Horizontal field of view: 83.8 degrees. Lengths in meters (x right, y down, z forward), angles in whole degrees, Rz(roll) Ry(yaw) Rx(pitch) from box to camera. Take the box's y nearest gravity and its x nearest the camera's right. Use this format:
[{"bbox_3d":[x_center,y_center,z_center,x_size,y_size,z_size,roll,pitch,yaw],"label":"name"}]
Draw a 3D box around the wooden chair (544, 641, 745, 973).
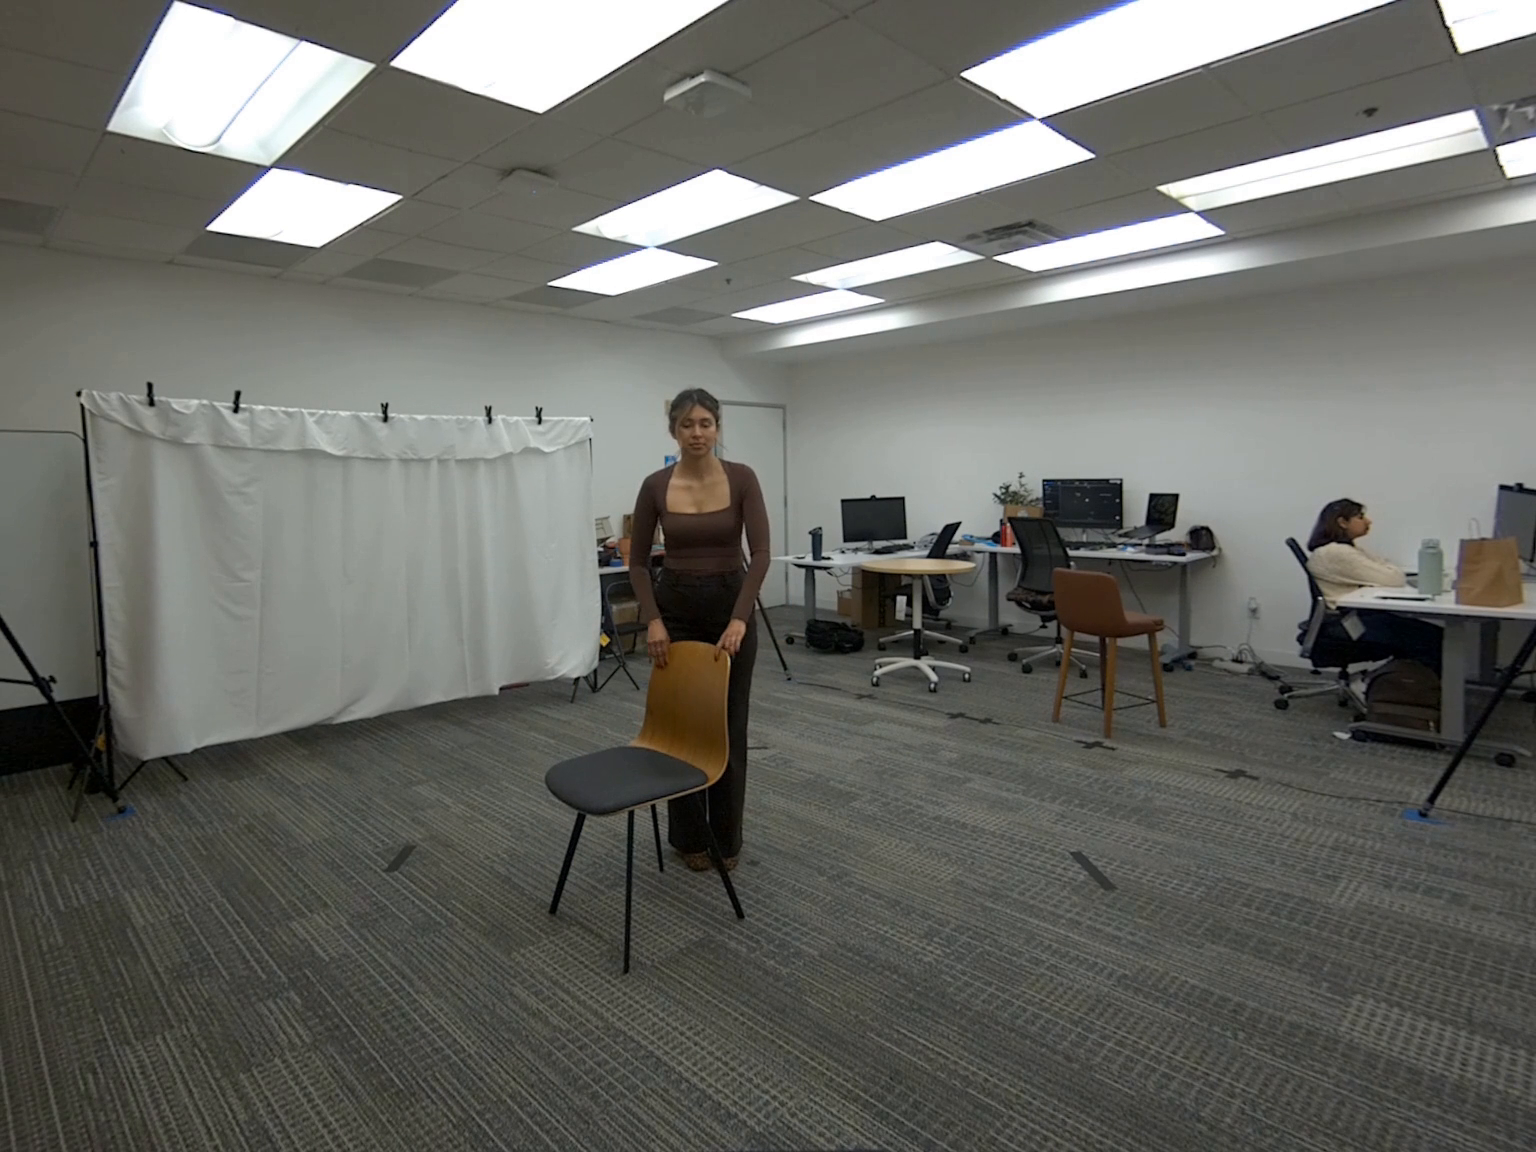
[{"bbox_3d":[-0.404,0.670,2.699,0.508,0.876,0.493,1,3,-41],"label":"wooden chair"}]
